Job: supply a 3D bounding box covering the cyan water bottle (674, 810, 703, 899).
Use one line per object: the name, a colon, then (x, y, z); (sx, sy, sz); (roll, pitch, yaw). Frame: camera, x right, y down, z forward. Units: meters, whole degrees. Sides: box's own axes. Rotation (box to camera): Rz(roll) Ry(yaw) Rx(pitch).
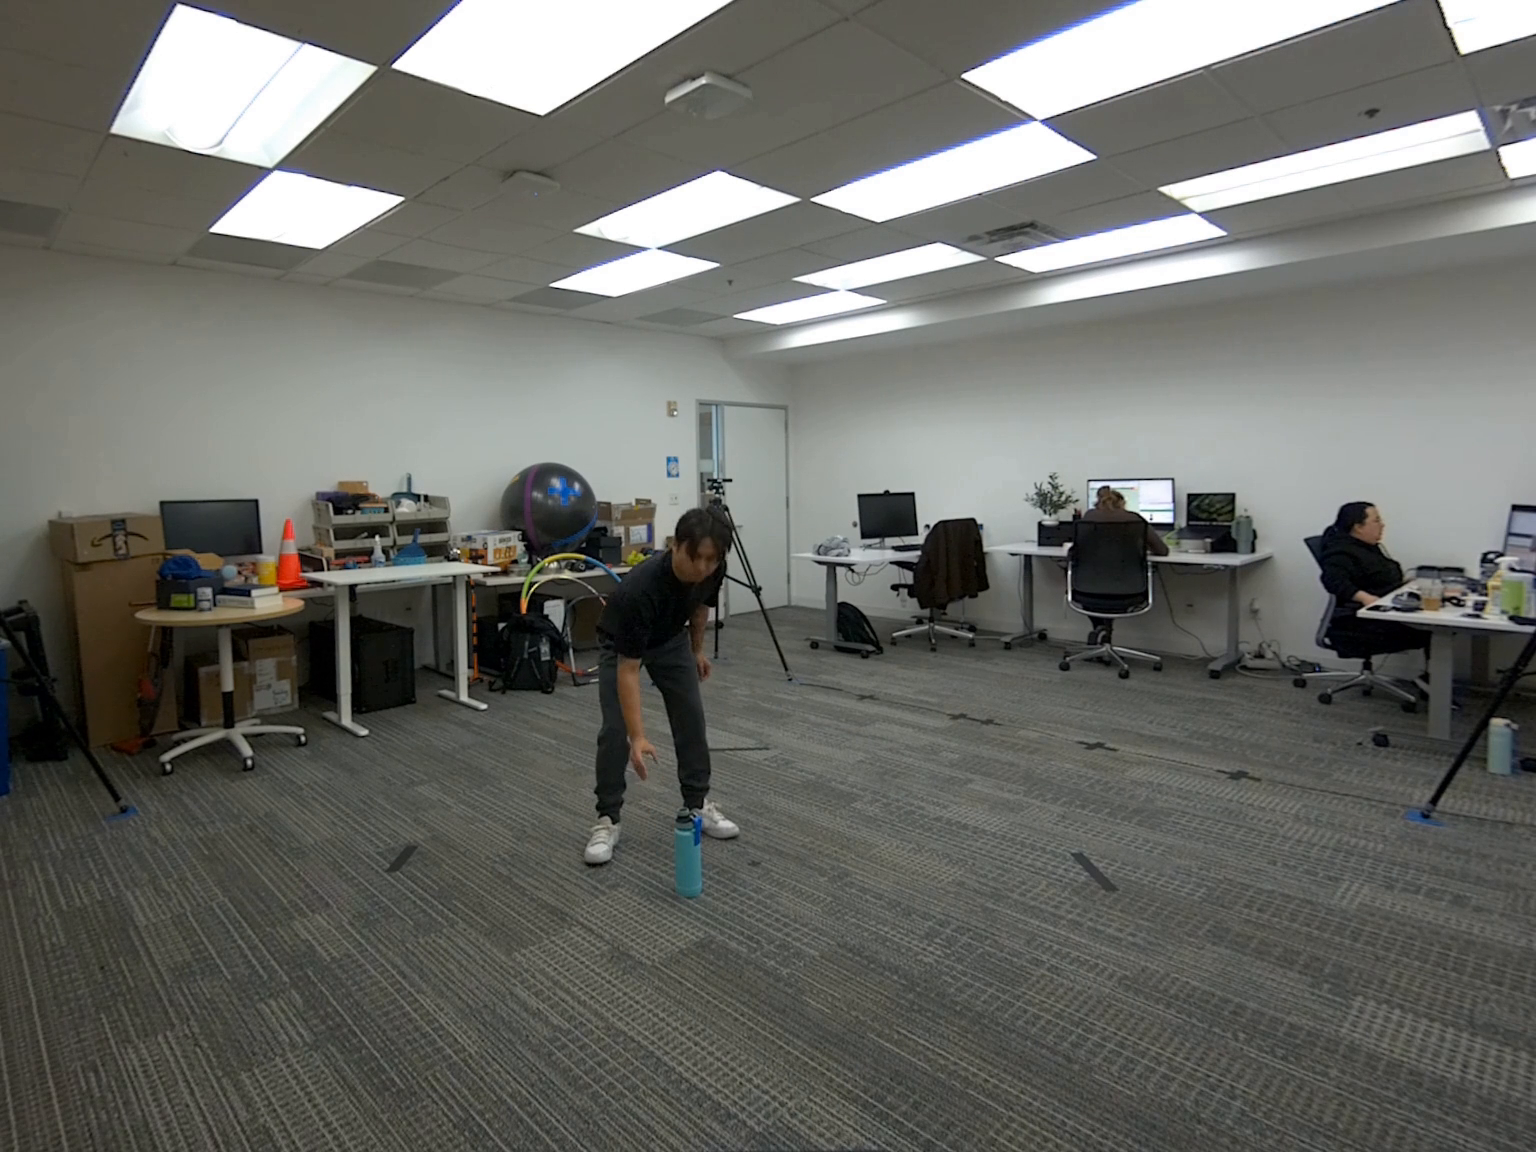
cyan water bottle: (-0.274, 0.940, 2.896); (0.092, 0.282, 0.093); (-1, 4, -2)
